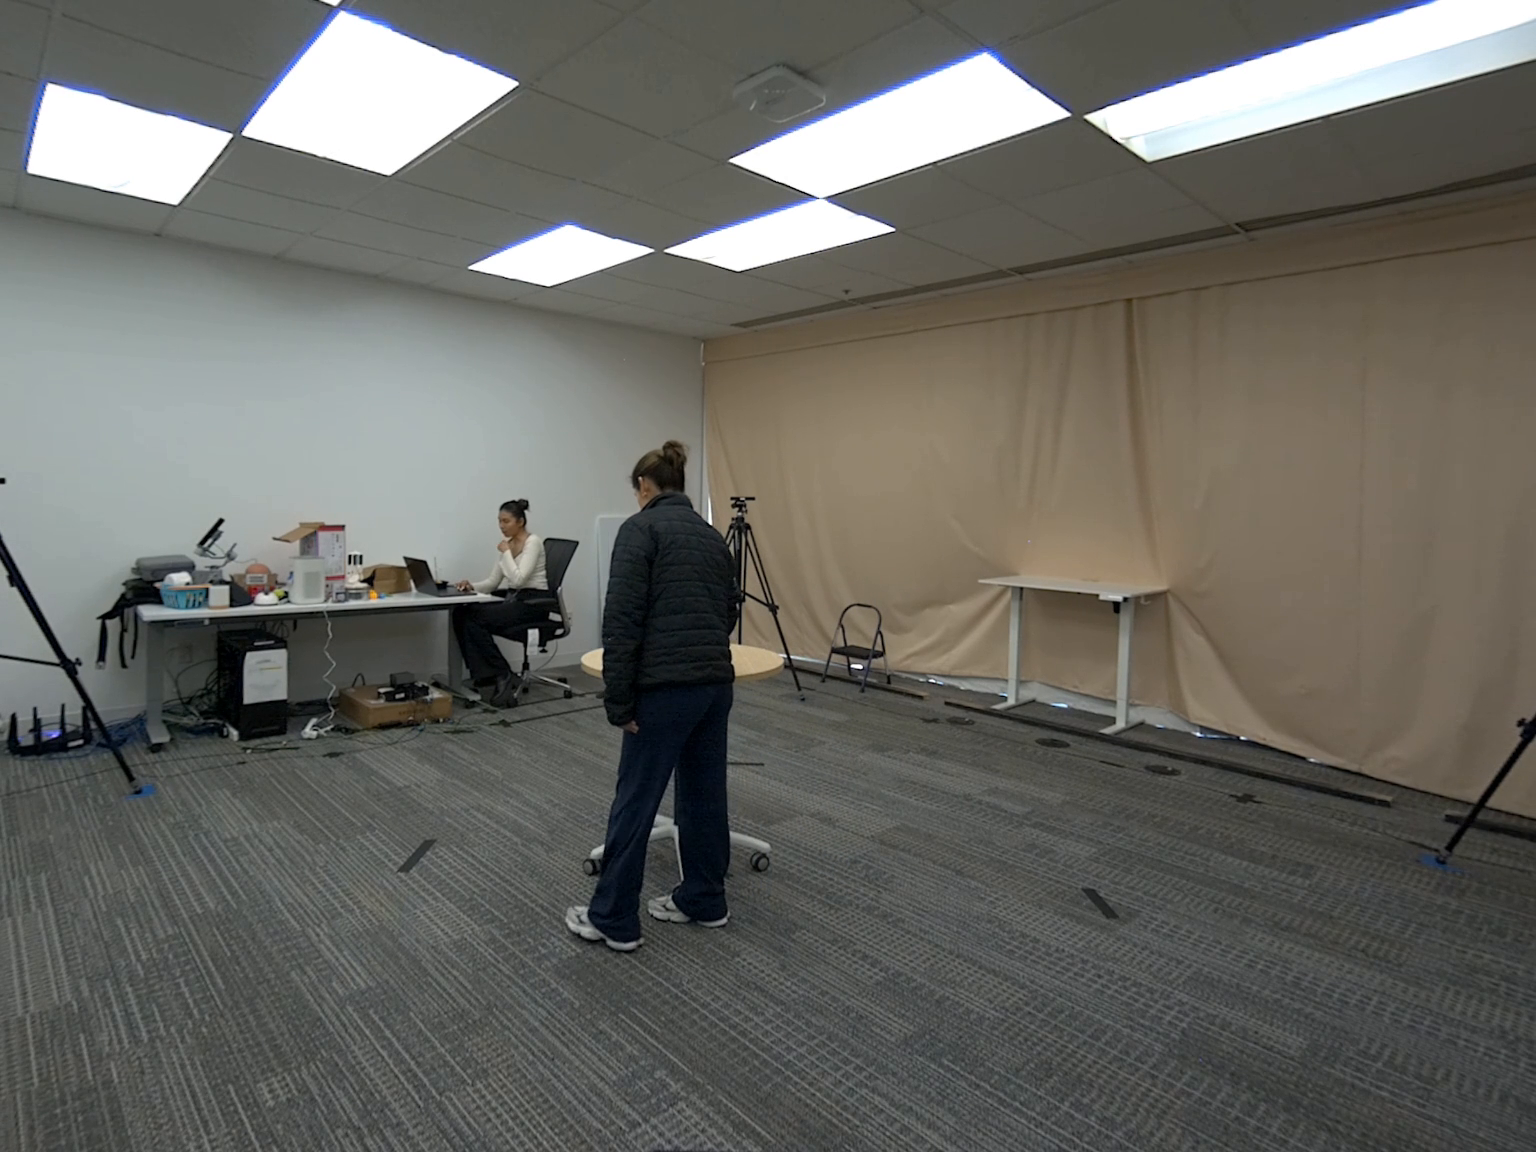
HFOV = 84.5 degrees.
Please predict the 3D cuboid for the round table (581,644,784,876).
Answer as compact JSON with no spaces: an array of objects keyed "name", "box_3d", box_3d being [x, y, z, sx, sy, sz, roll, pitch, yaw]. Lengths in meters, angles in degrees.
[{"name":"round table","box_3d":[-0.322,0.703,3.212,0.784,0.784,0.788,1,4,-1]}]
